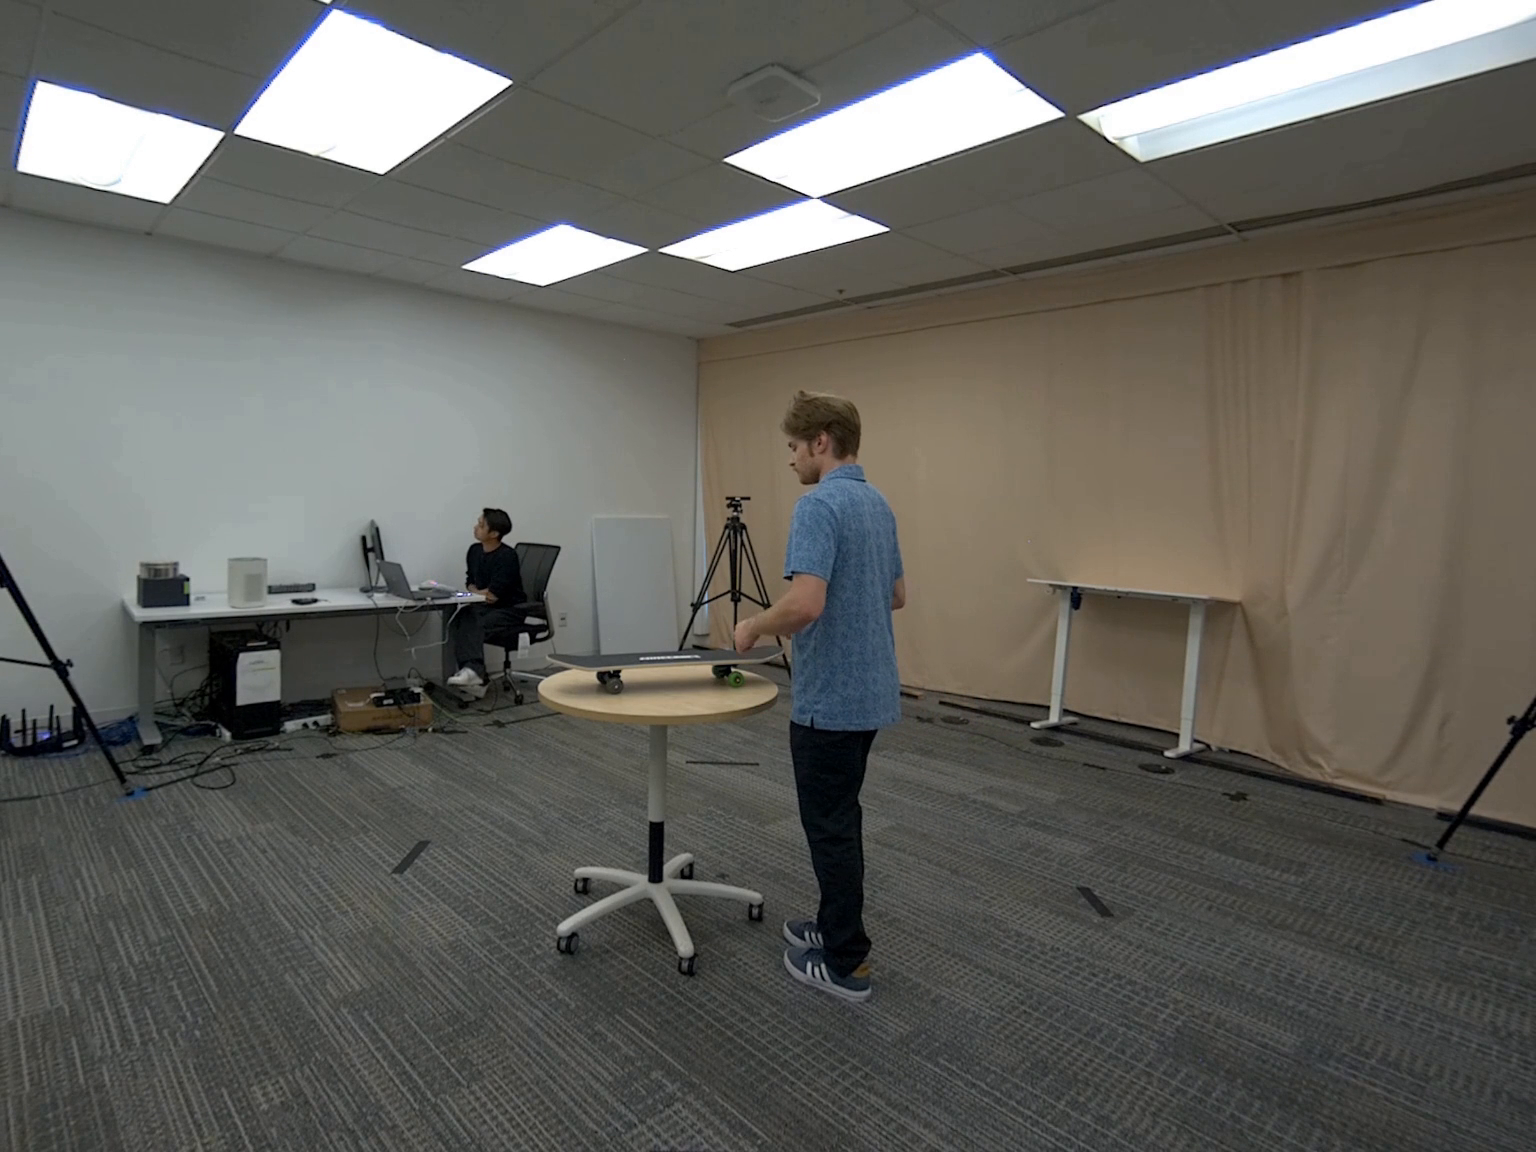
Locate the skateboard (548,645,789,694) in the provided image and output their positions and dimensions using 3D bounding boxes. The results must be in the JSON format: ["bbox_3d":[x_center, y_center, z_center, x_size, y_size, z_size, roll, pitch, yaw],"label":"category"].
[{"bbox_3d":[-0.318,0.303,2.713,0.773,0.110,0.197,0,6,-21],"label":"skateboard"}]
